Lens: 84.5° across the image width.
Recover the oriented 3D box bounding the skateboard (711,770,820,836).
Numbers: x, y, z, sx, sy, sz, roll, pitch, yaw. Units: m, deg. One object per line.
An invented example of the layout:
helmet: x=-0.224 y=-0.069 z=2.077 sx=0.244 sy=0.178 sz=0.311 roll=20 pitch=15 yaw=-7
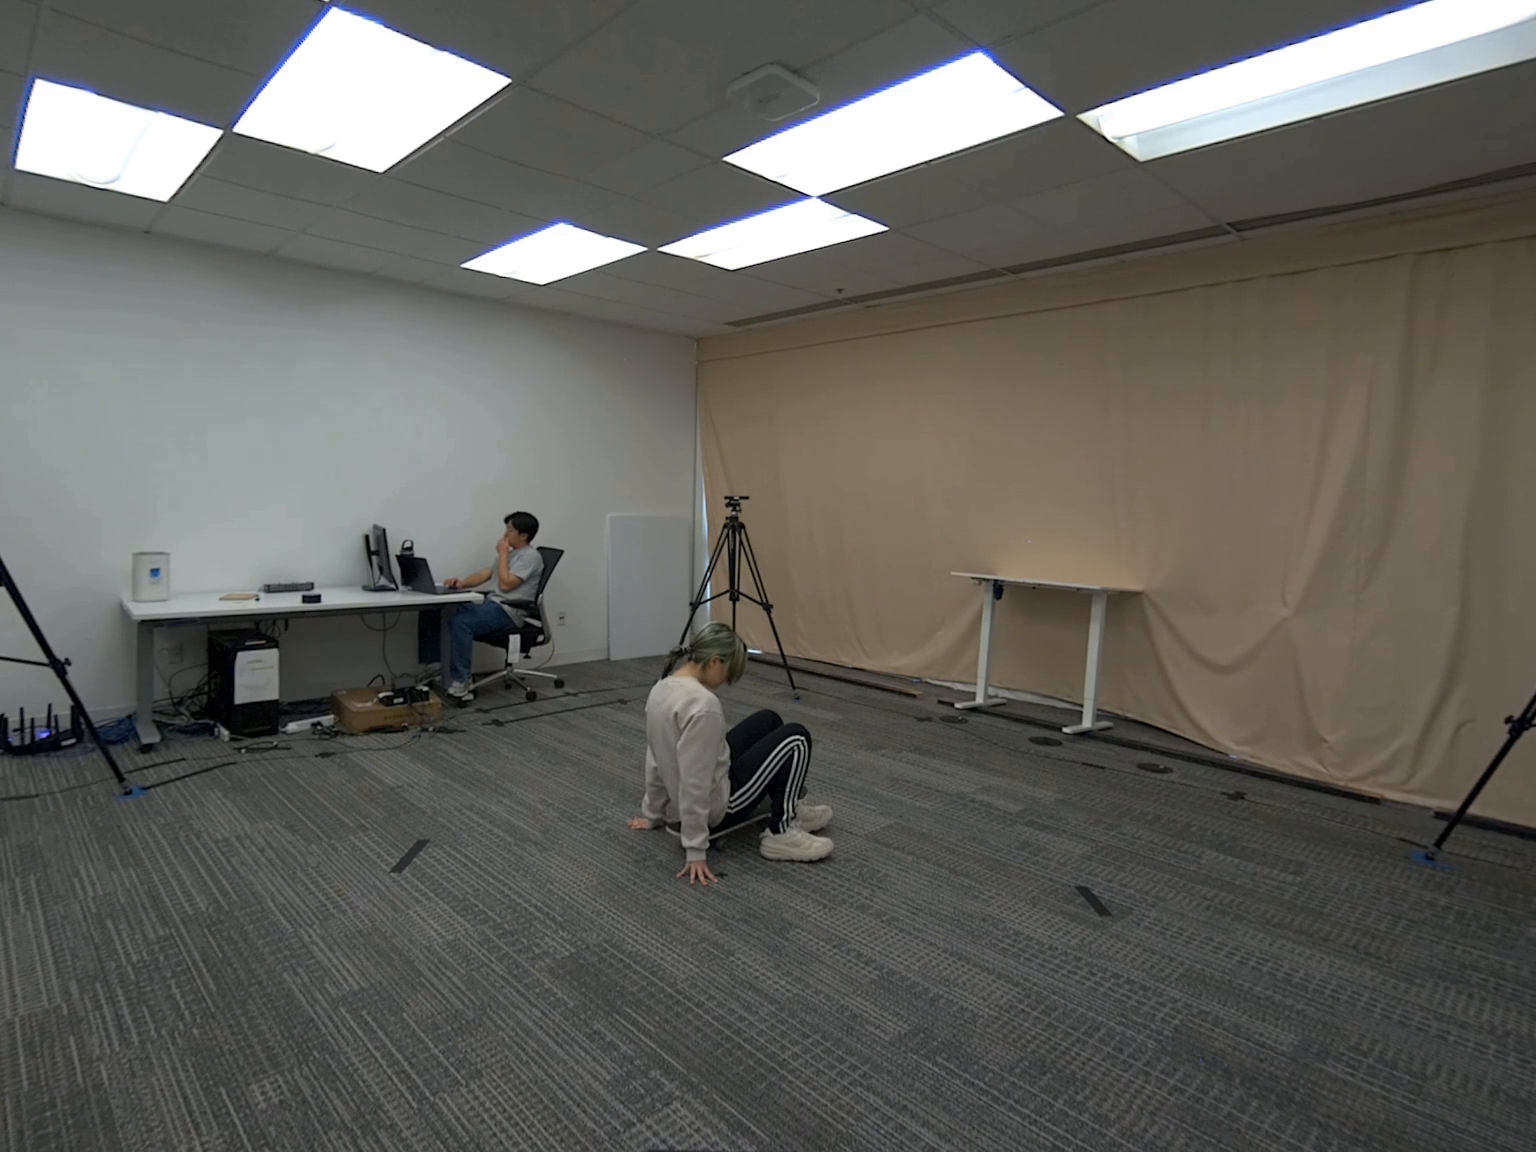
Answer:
skateboard: x=-0.116 y=1.009 z=3.520 sx=0.198 sy=0.110 sz=0.768 roll=5 pitch=6 yaw=42
